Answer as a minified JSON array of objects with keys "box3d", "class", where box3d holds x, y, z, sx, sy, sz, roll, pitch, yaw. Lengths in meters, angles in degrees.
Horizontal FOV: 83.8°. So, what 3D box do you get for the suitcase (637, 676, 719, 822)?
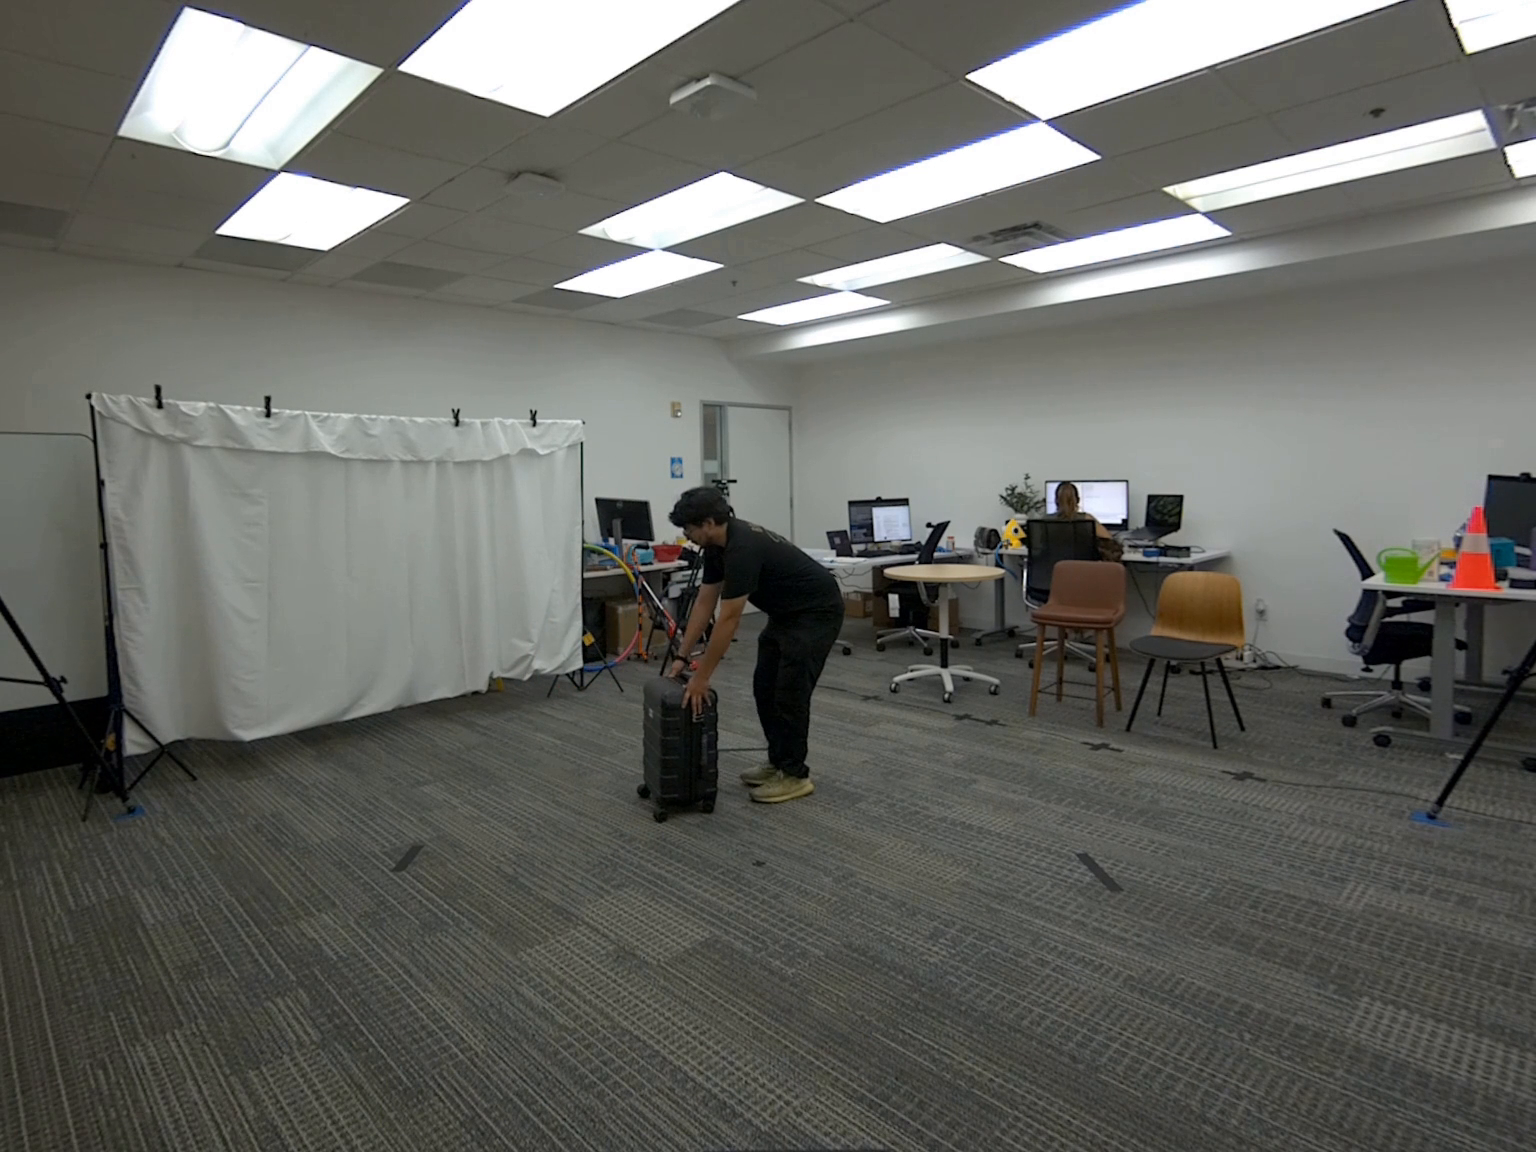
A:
[{"box3d":[-0.382,0.716,3.687,0.243,0.547,0.384,-1,4,-22],"class":"suitcase"}]
